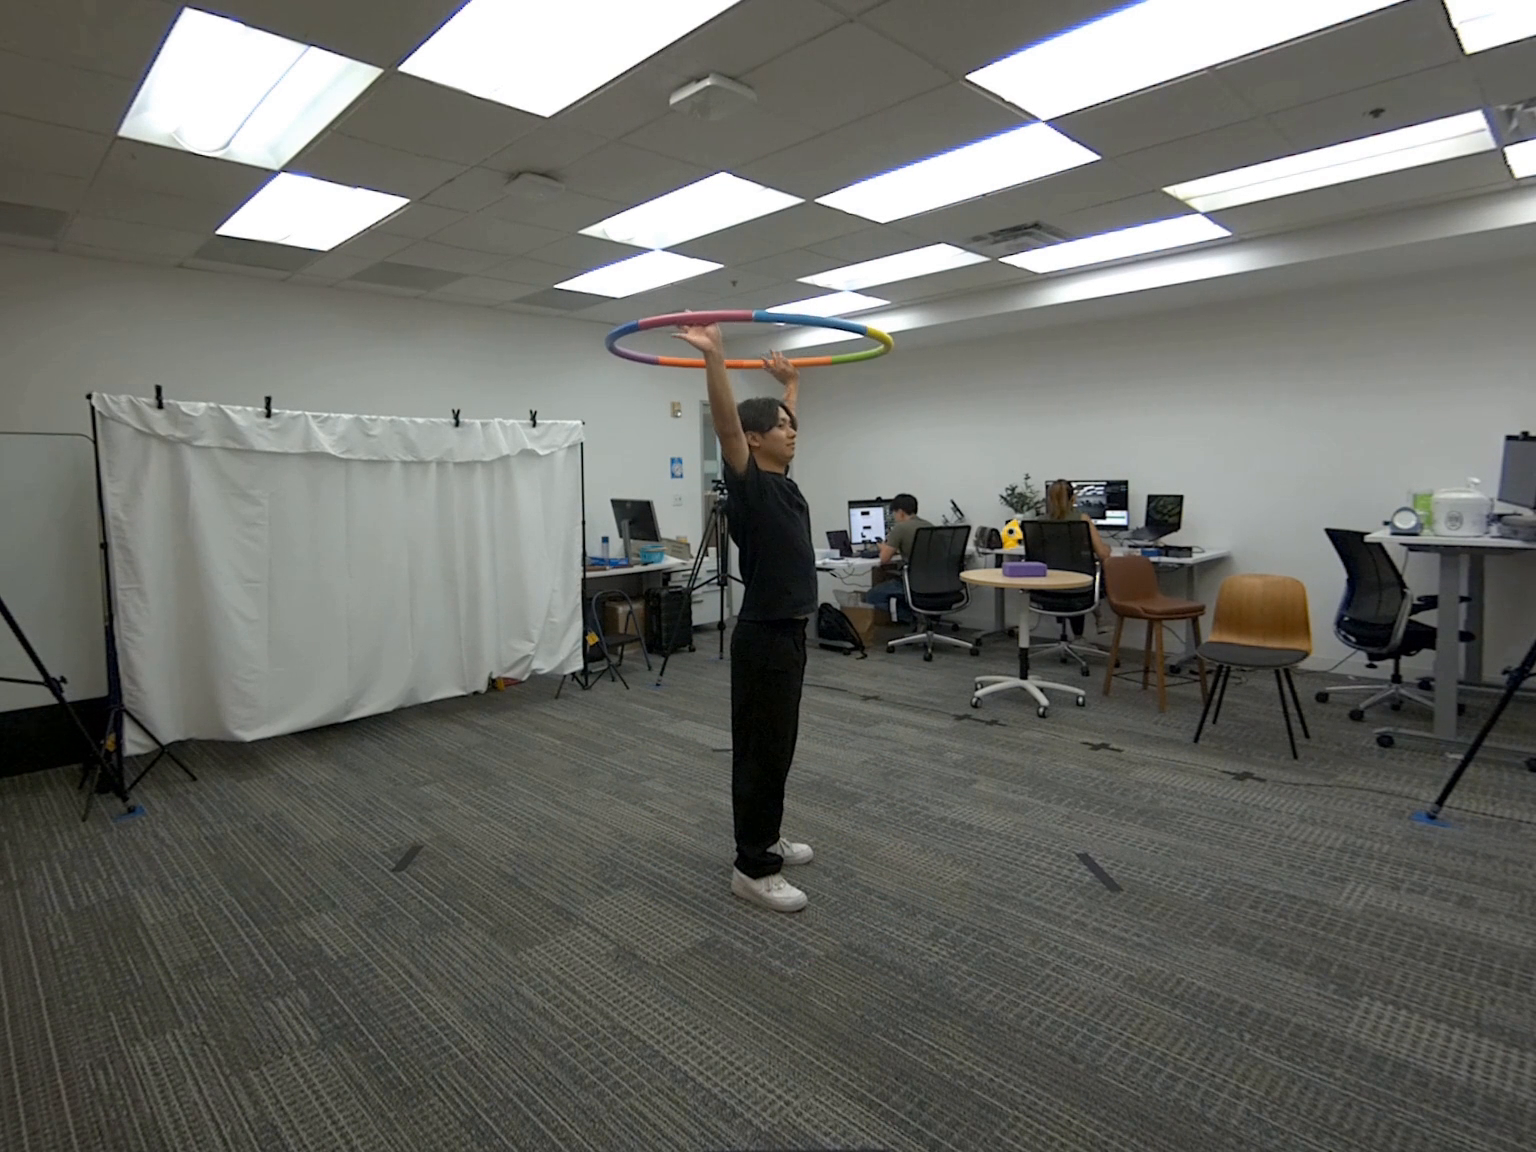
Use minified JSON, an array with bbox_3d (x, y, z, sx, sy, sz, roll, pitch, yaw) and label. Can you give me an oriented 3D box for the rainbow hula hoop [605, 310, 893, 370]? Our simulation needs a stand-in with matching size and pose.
[{"bbox_3d":[-0.061,-0.778,2.904,0.978,0.035,0.984,0,6,-2],"label":"rainbow hula hoop"}]
